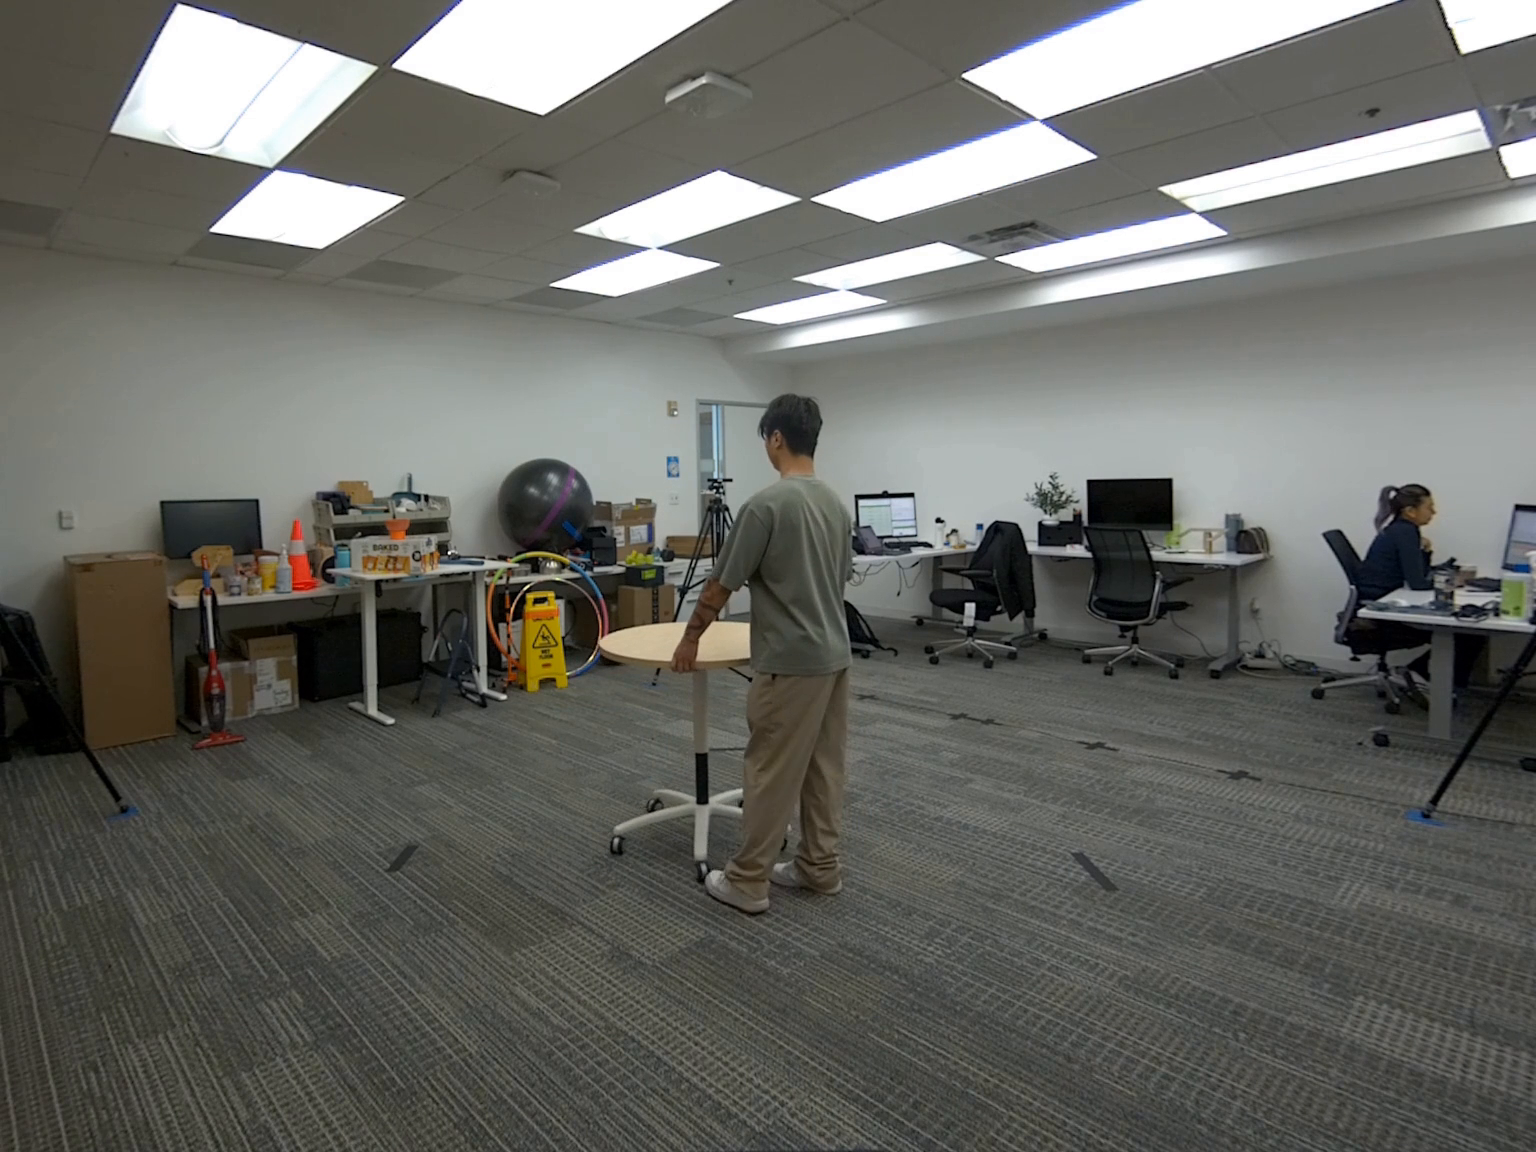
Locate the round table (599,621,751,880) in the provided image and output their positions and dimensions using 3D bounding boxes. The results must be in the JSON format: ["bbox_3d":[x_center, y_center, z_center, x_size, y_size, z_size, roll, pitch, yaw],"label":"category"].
[{"bbox_3d":[-0.267,0.627,3.325,0.784,0.783,0.789,-1,5,-2],"label":"round table"}]
